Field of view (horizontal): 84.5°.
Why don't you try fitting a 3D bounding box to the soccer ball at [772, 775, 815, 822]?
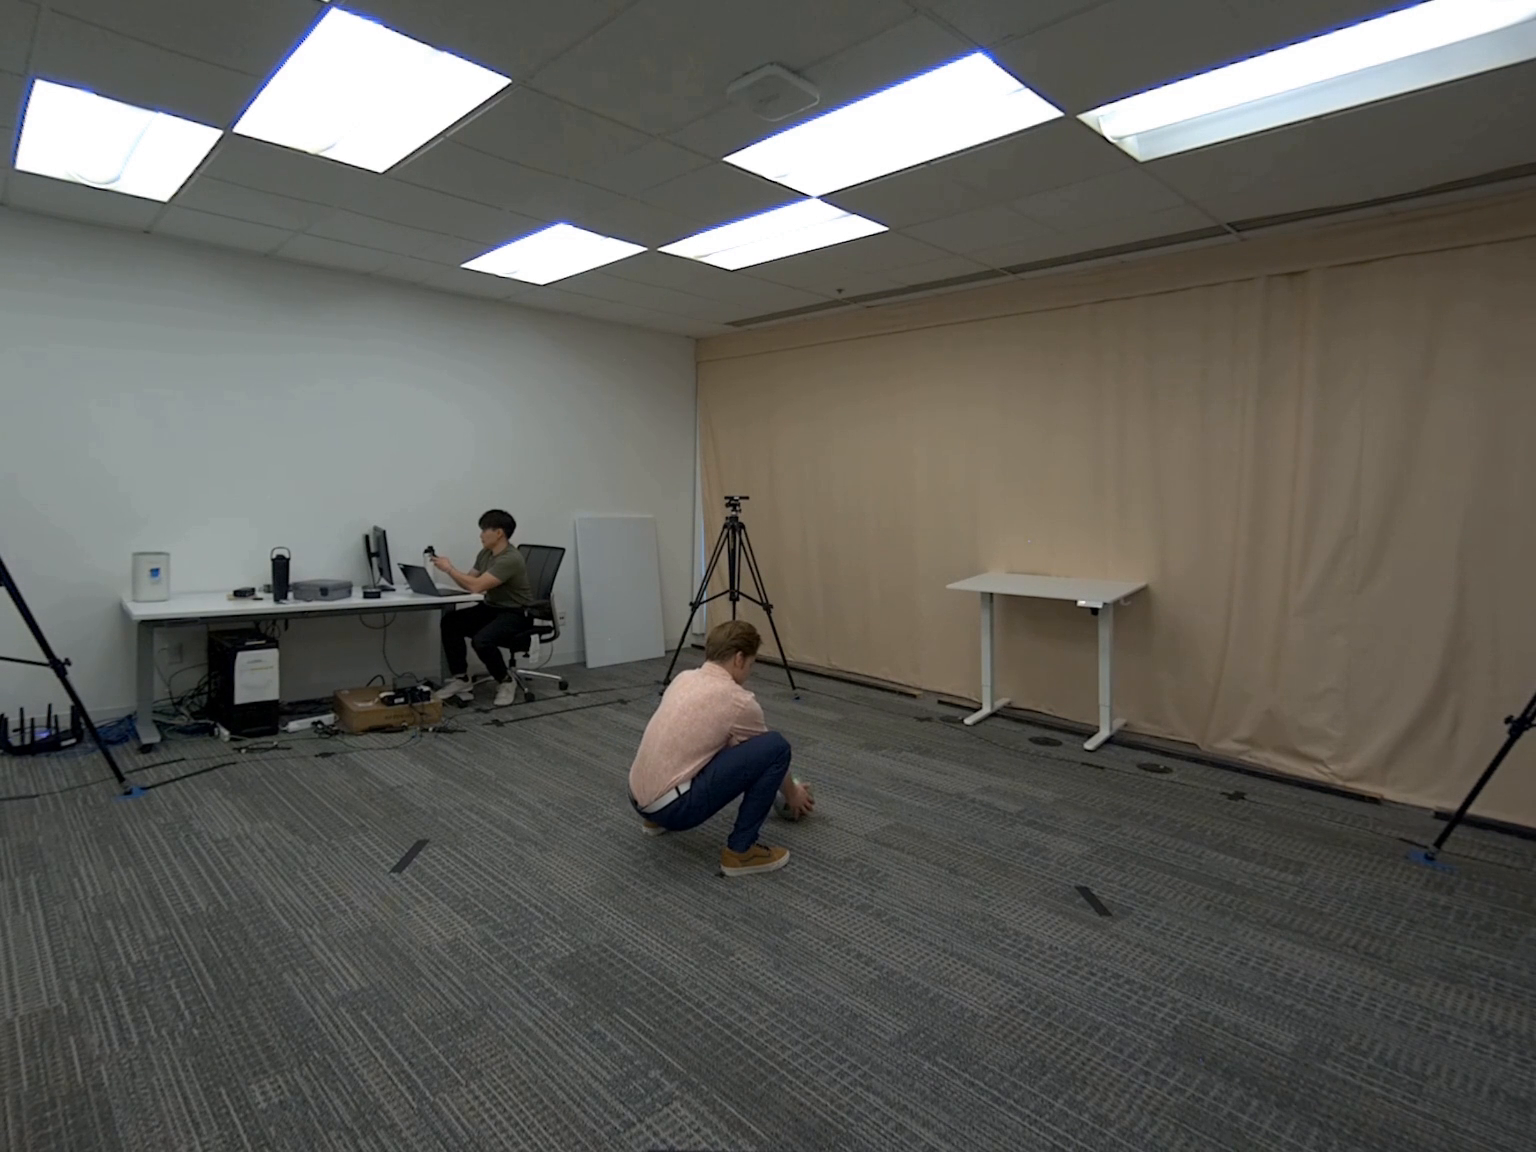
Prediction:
[{"bbox_3d":[0.100,0.970,3.687,0.187,0.187,0.188,1,4,-1],"label":"soccer ball"}]
